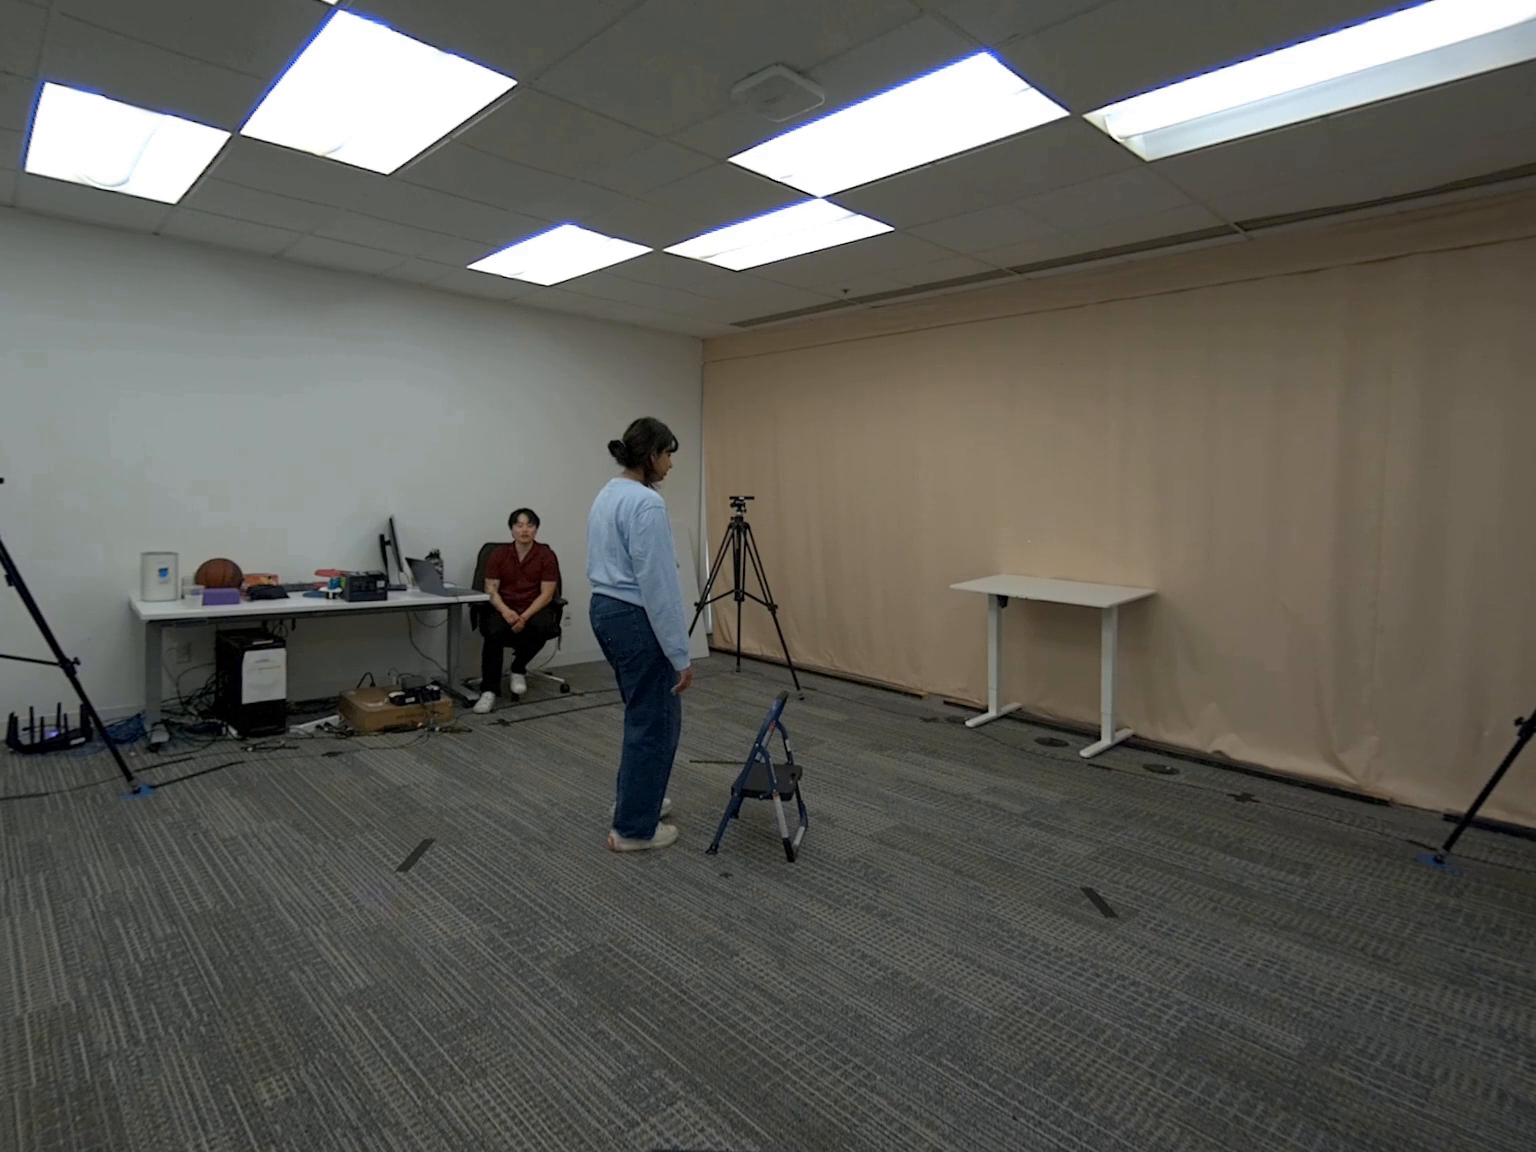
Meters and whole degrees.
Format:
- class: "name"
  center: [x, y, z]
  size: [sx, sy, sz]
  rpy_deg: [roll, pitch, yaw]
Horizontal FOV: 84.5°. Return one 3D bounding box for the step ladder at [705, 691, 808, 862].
- class: "step ladder"
  center: [-0.031, 0.775, 3.443]
  size: [0.353, 0.604, 0.427]
  rpy_deg: [2, 4, 11]
